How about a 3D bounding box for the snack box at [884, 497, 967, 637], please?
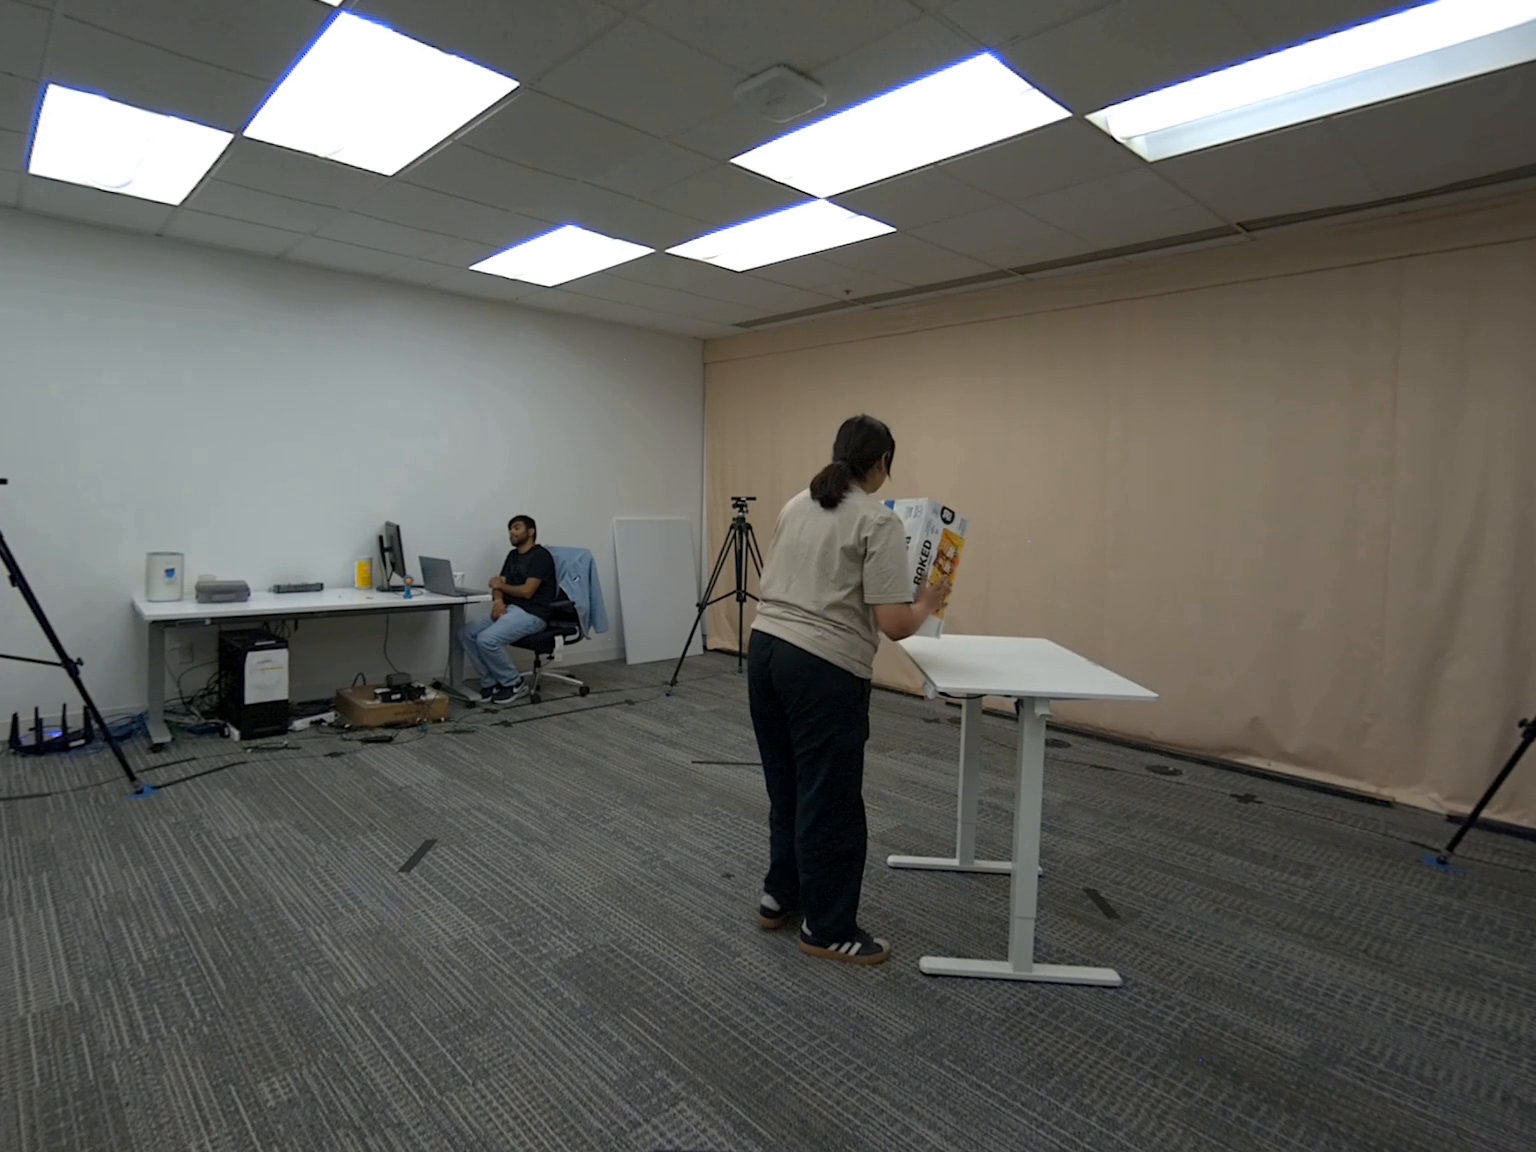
[{"bbox_3d":[0.421,-0.031,2.777,0.200,0.407,0.348,24,-13,-32],"label":"snack box"}]
